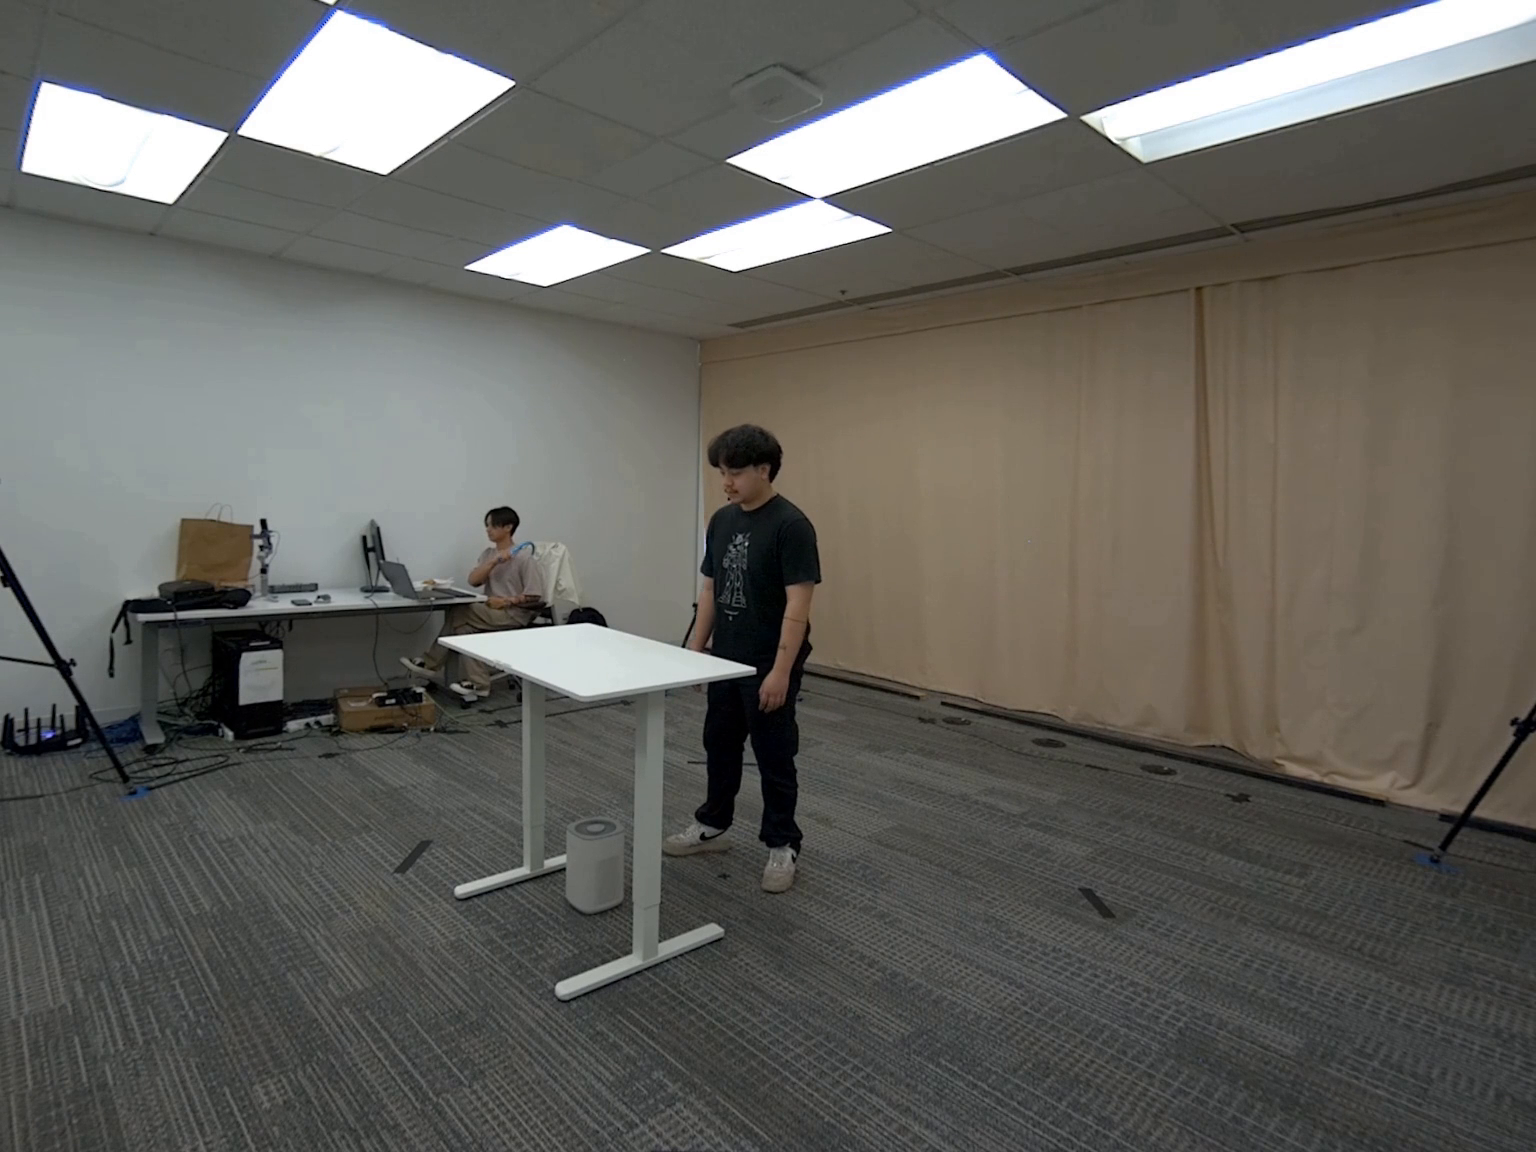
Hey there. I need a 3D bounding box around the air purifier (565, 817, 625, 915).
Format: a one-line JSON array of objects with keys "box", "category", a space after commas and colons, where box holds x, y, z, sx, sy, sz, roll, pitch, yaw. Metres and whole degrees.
[{"box": [-0.592, 0.986, 2.864, 0.168, 0.264, 0.175, -3, 6, -41], "category": "air purifier"}]
